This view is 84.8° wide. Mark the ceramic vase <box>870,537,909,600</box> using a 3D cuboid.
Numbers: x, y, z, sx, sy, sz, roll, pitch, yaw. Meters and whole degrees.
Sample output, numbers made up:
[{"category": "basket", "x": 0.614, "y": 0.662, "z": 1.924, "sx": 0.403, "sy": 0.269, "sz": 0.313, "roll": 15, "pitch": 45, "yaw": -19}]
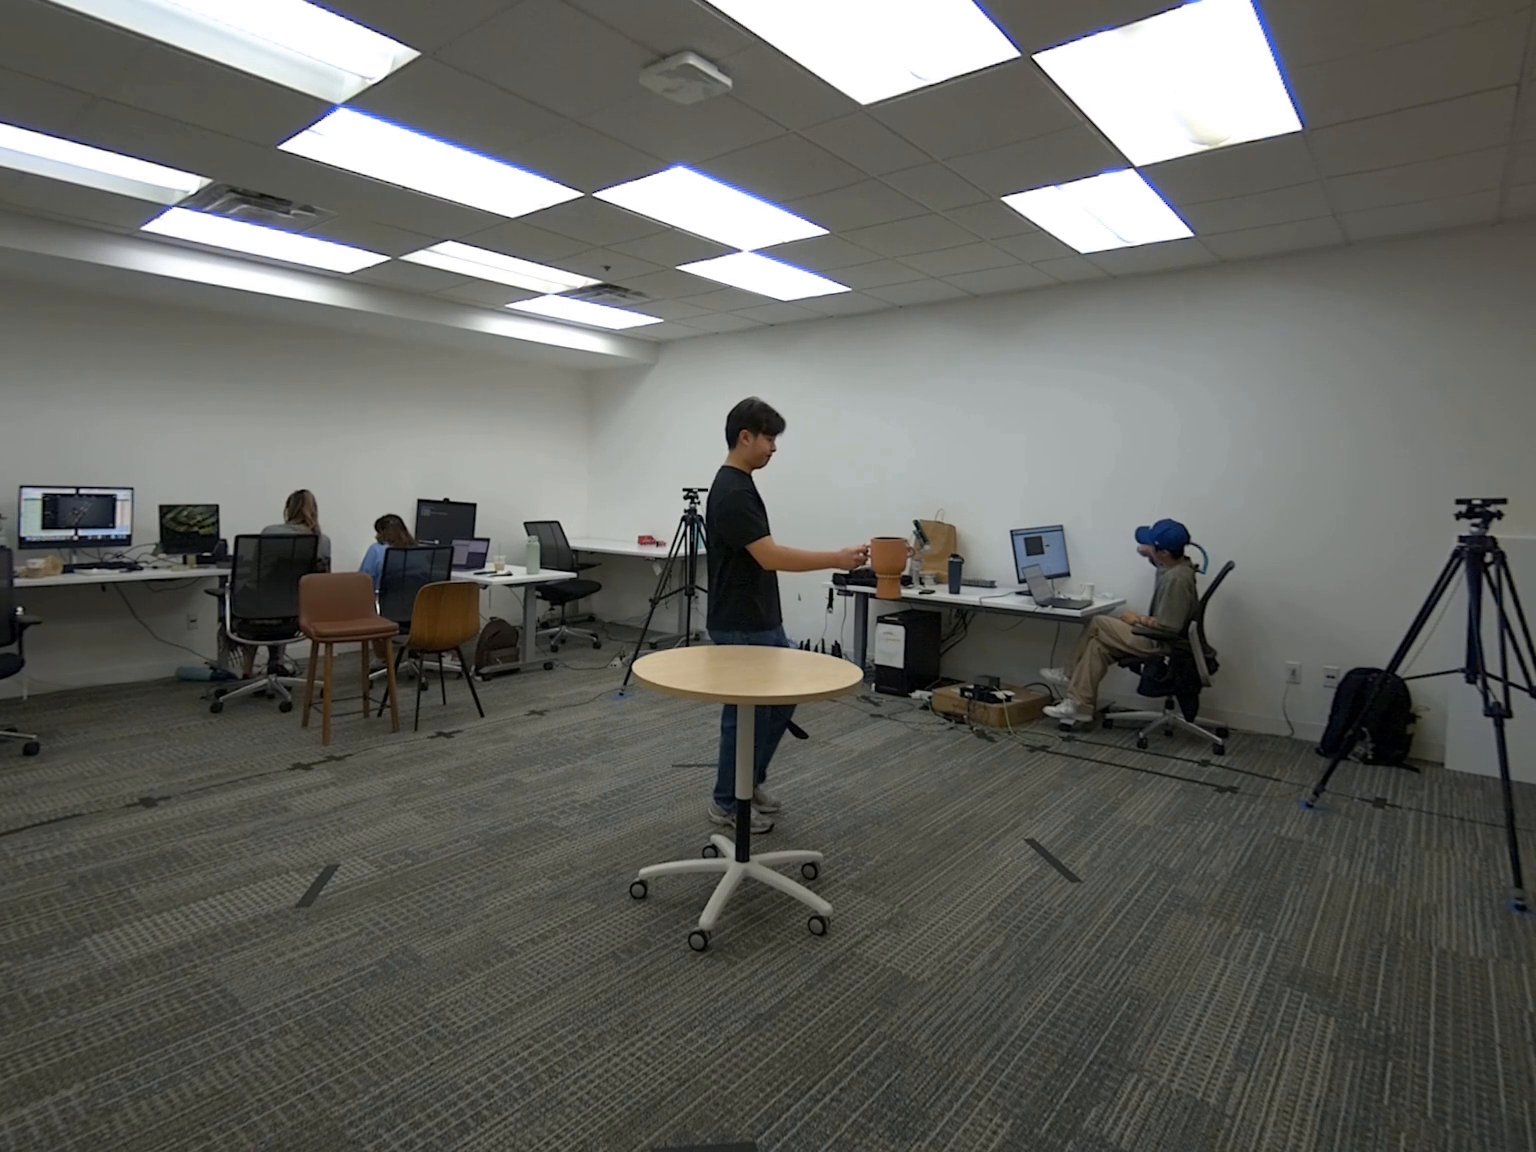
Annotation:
[{"category": "ceramic vase", "x": 0.444, "y": -0.033, "z": 3.159, "sx": 0.131, "sy": 0.219, "sz": 0.164, "roll": -2, "pitch": 5, "yaw": -33}]
